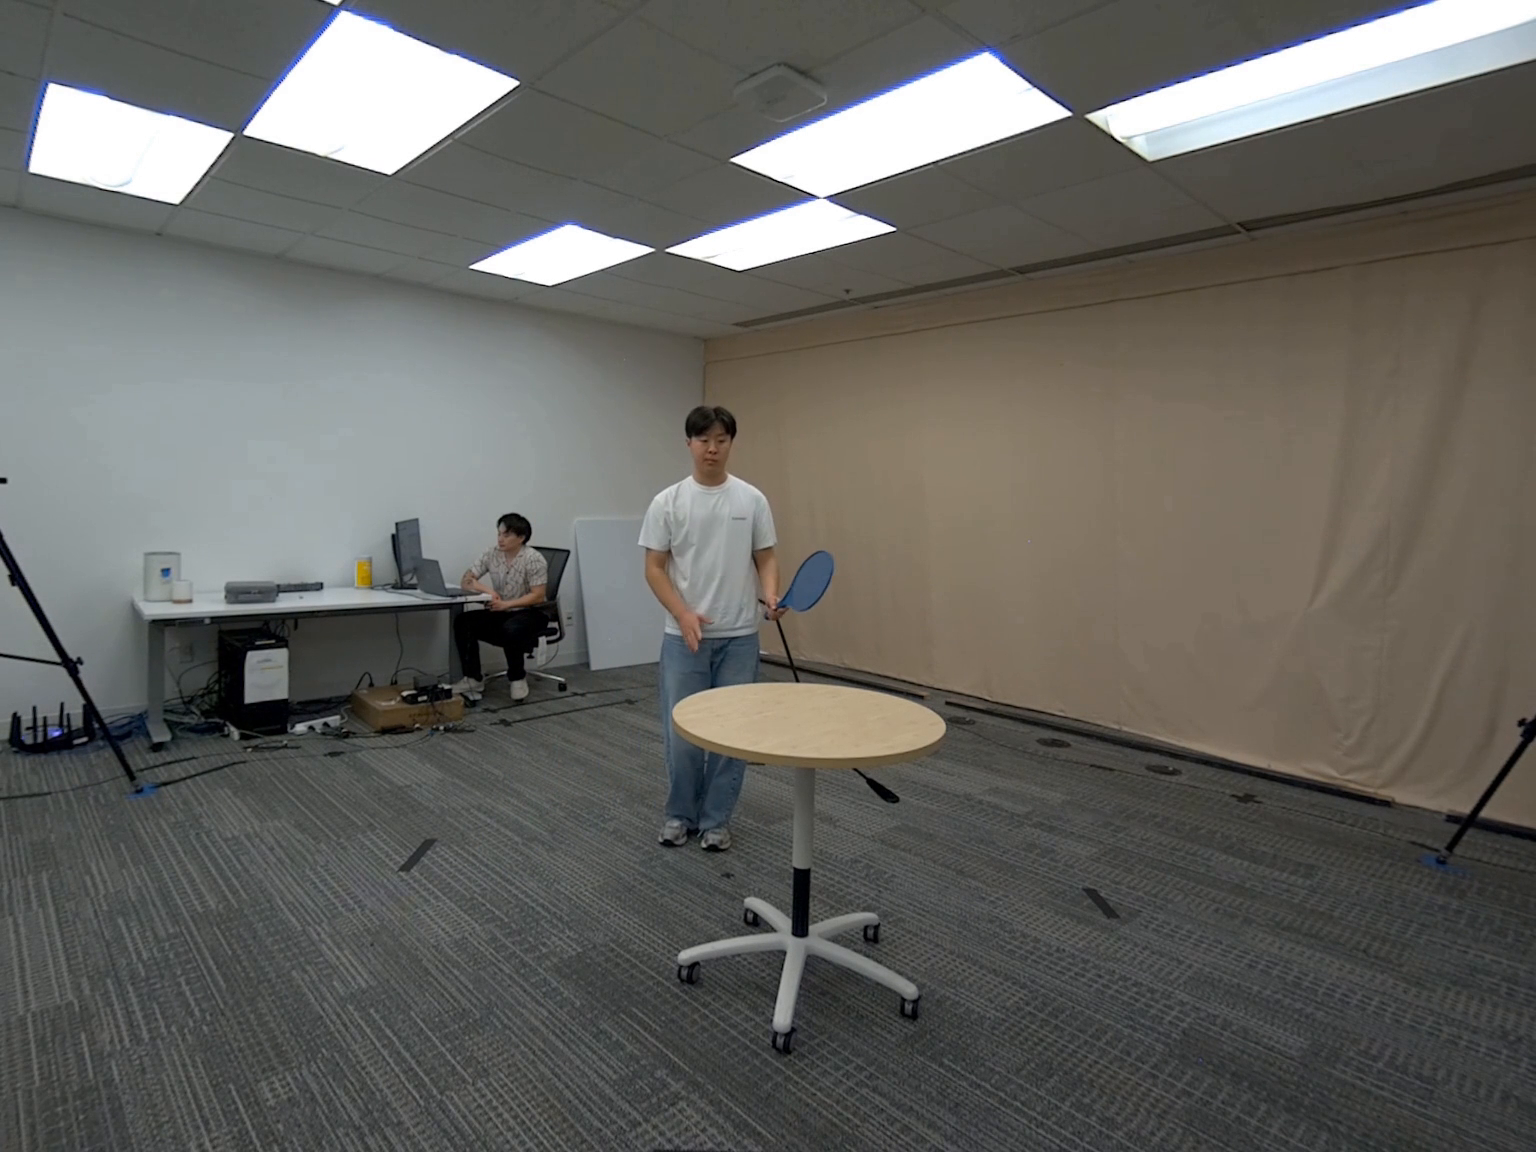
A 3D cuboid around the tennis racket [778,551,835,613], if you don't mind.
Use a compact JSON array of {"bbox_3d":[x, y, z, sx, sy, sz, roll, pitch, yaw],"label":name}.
[{"bbox_3d":[0.087,0.058,3.049,0.031,0.217,0.434,22,-36,-22],"label":"tennis racket"}]
